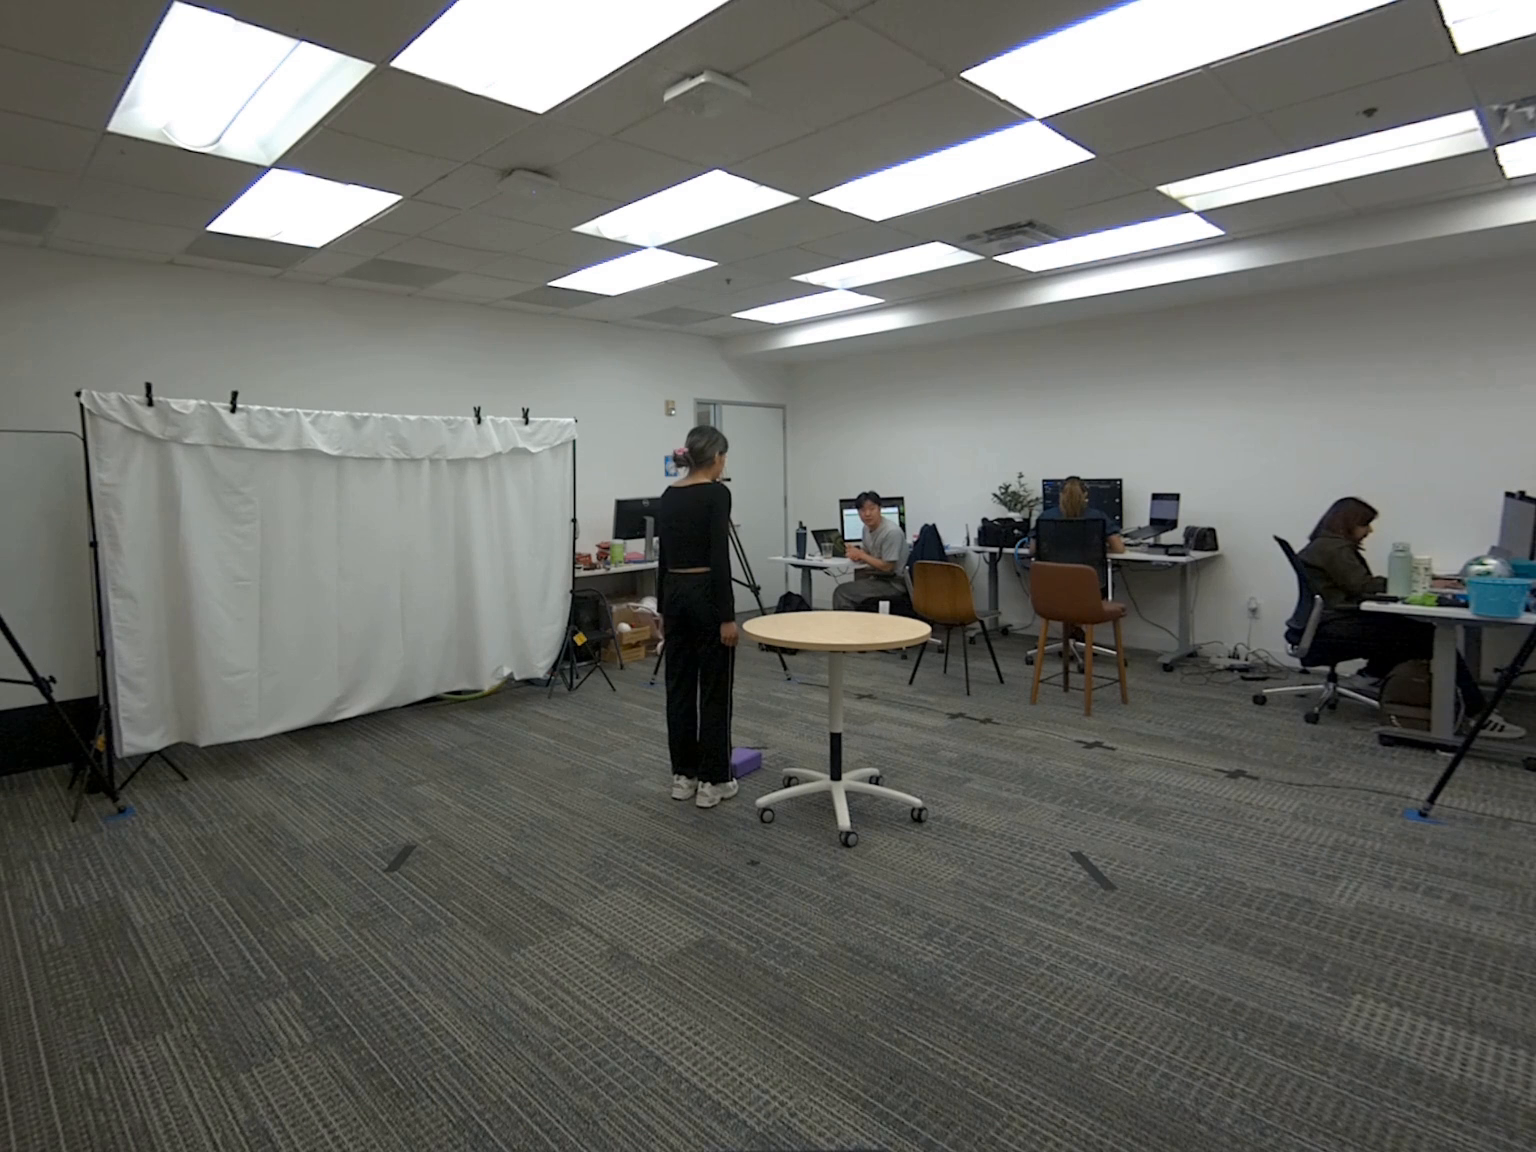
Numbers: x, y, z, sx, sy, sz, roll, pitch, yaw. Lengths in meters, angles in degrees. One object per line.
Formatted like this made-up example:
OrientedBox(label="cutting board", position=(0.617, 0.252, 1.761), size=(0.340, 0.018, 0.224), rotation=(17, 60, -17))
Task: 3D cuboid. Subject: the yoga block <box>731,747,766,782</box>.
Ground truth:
OrientedBox(label="yoga block", position=(-0.141, 0.896, 4.100), size=(0.153, 0.076, 0.224), rotation=(2, 6, 35))
